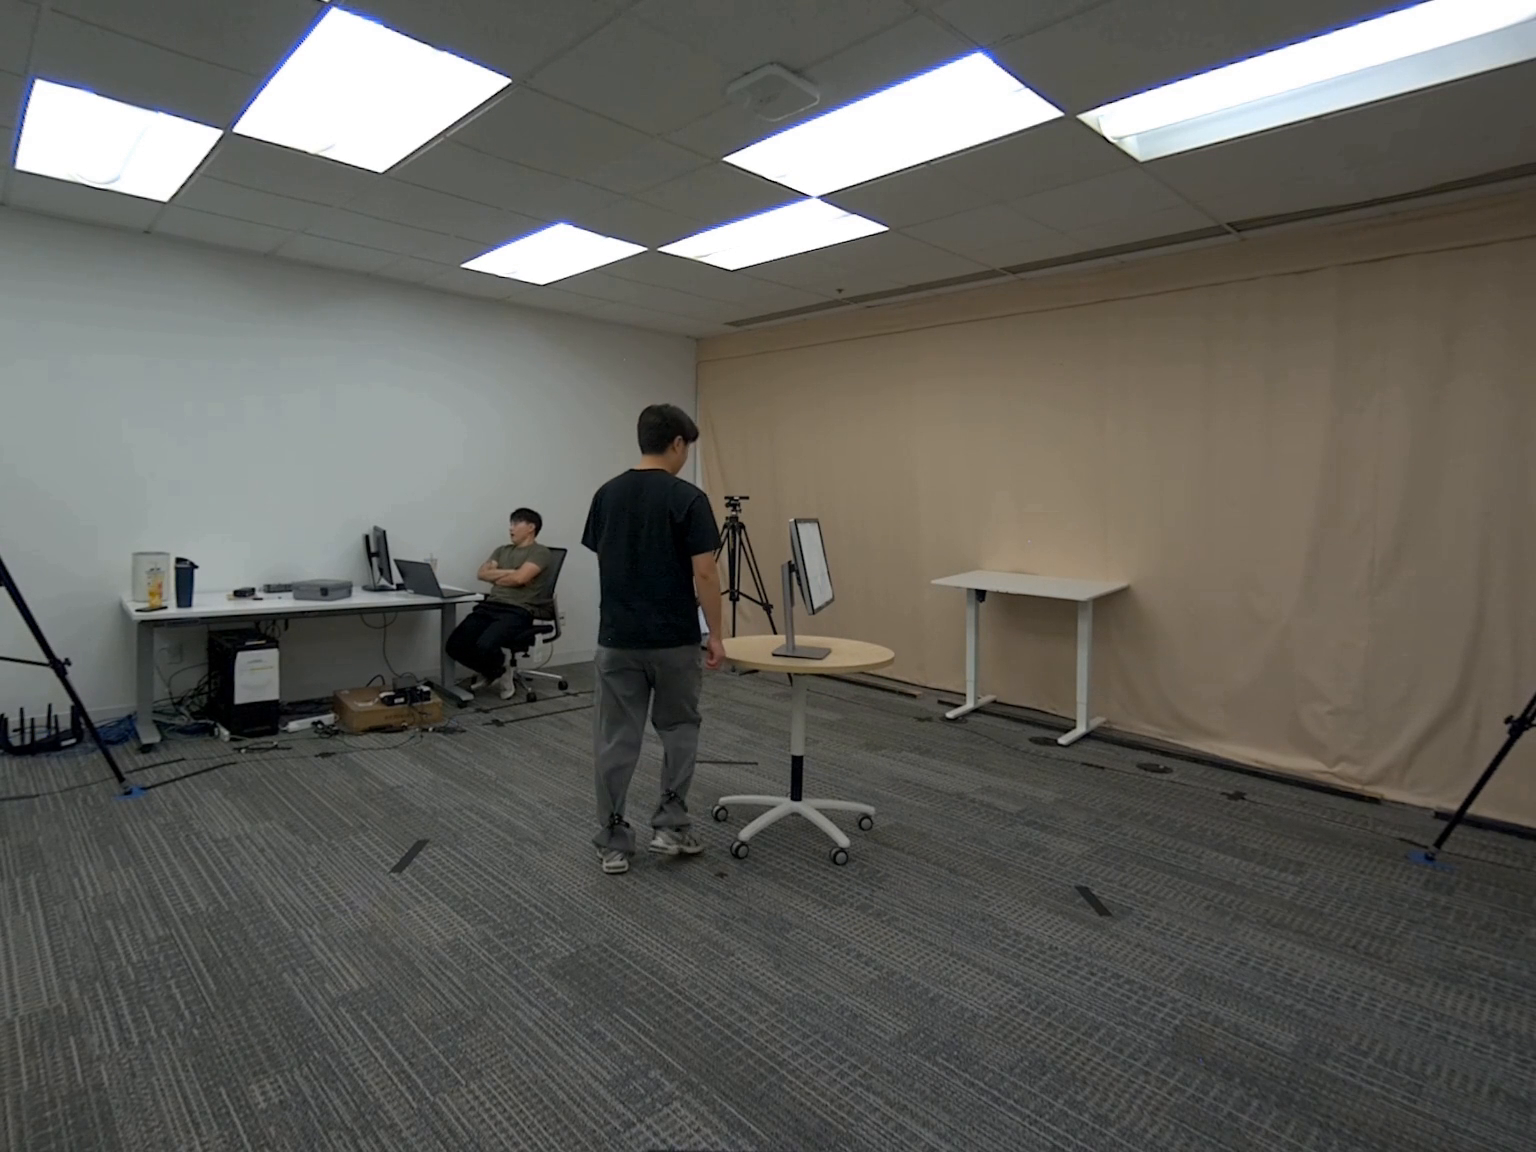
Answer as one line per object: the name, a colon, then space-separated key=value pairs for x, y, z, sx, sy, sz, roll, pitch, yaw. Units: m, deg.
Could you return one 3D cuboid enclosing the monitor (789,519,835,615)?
monitor: x=0.147 y=0.050 z=3.384 sx=0.225 sy=0.564 sz=0.555 roll=4 pitch=4 yaw=15
